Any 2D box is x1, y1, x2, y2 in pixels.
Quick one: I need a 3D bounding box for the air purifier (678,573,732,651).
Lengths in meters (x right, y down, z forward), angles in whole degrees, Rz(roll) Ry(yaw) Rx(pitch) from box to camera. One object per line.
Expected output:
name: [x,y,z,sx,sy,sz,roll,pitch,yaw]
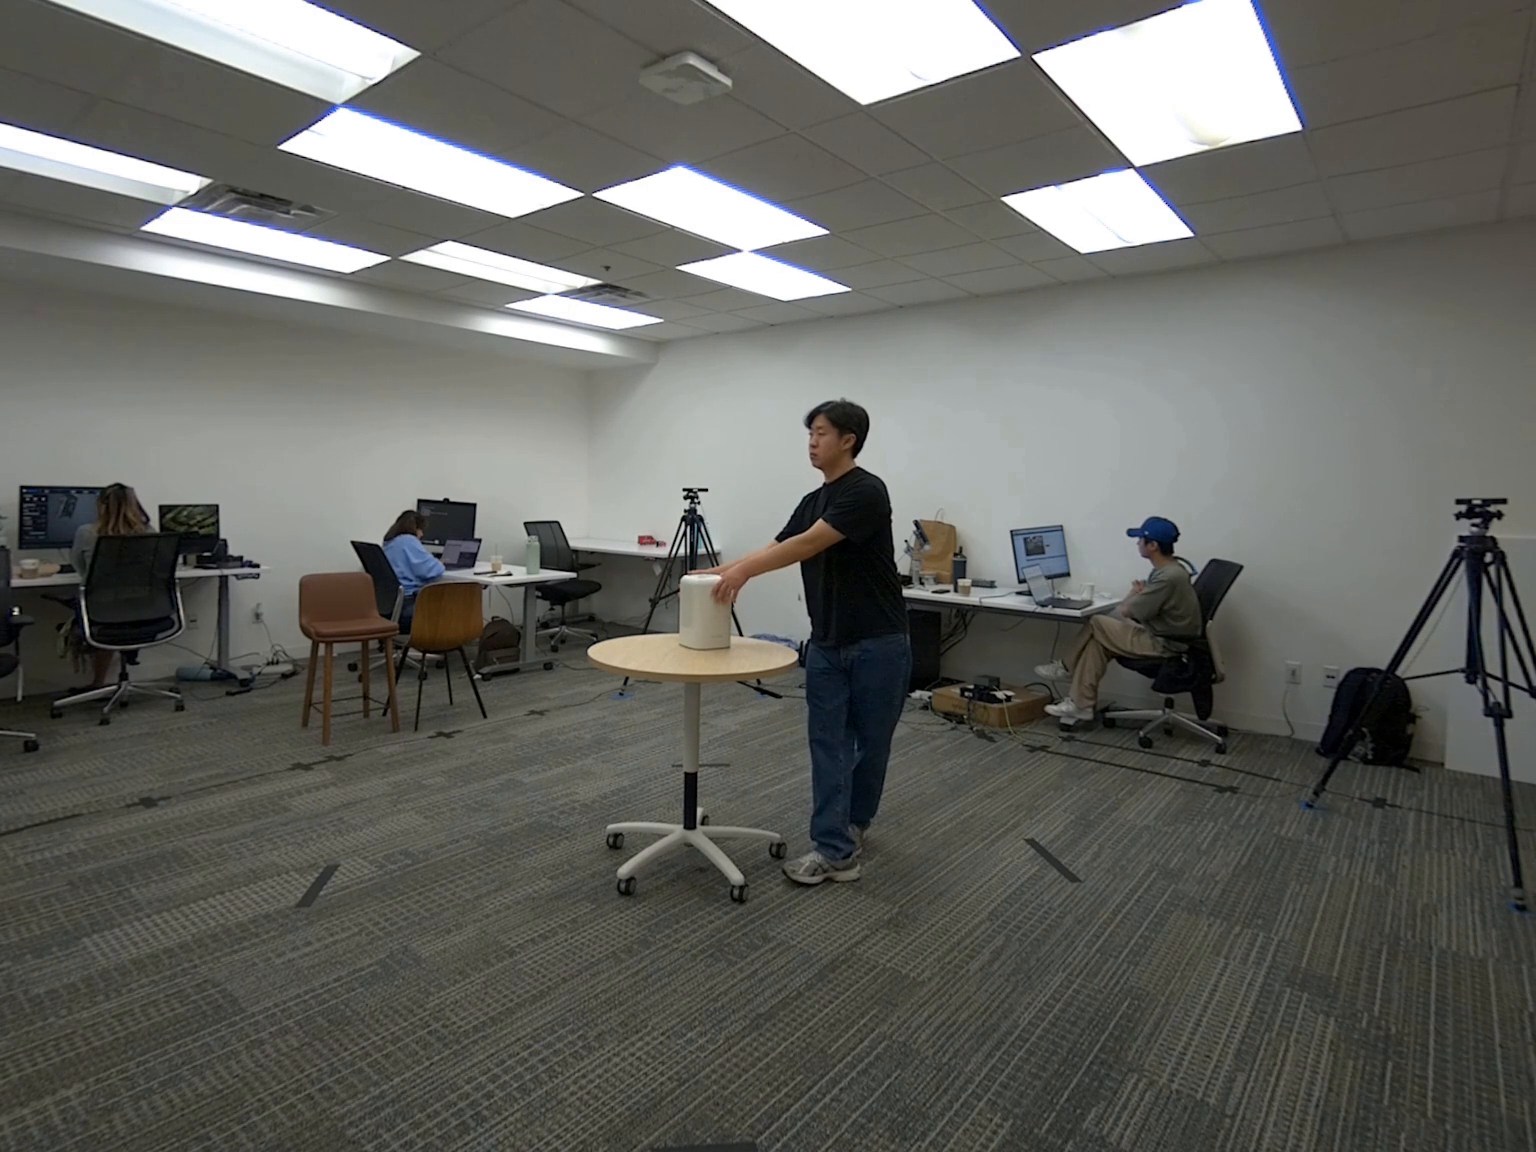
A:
air purifier: [-0.249,0.129,3.227,0.166,0.264,0.177,-2,4,-31]
